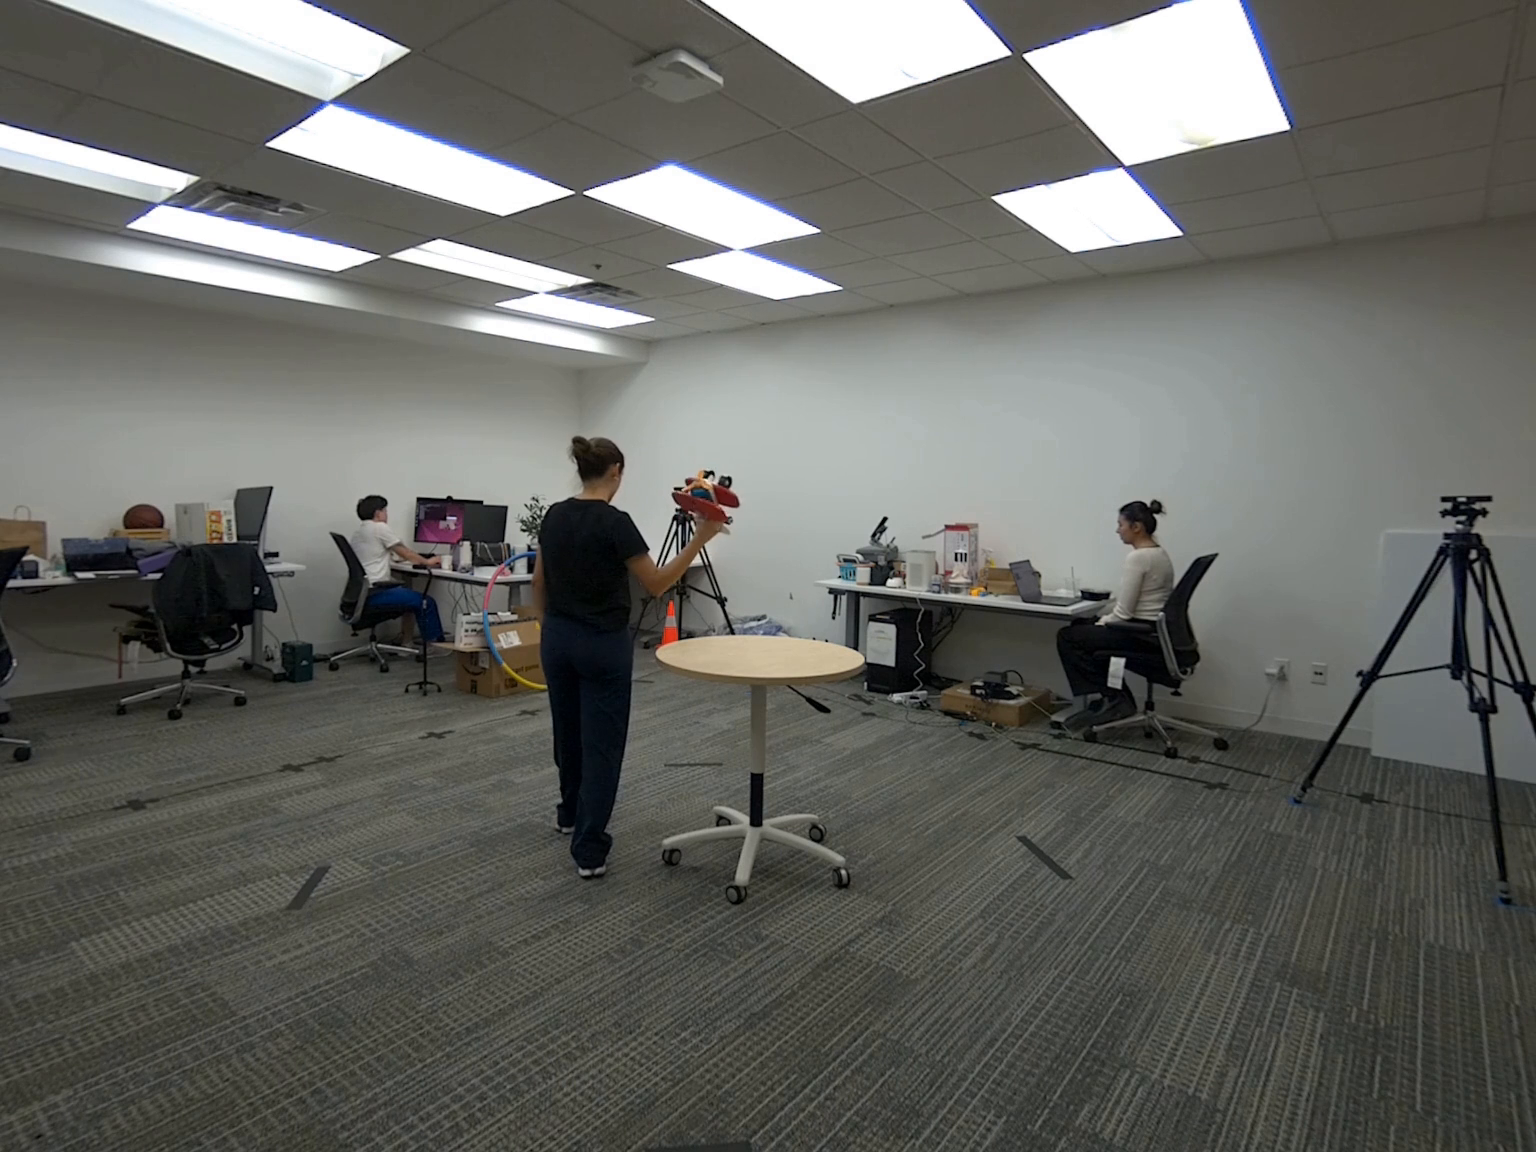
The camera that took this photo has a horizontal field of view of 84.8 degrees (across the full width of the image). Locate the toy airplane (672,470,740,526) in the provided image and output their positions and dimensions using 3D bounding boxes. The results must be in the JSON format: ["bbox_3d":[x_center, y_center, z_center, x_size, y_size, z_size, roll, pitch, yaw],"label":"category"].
[{"bbox_3d":[-0.191,-0.262,3.129,0.155,0.255,0.257,-36,15,-35],"label":"toy airplane"}]
